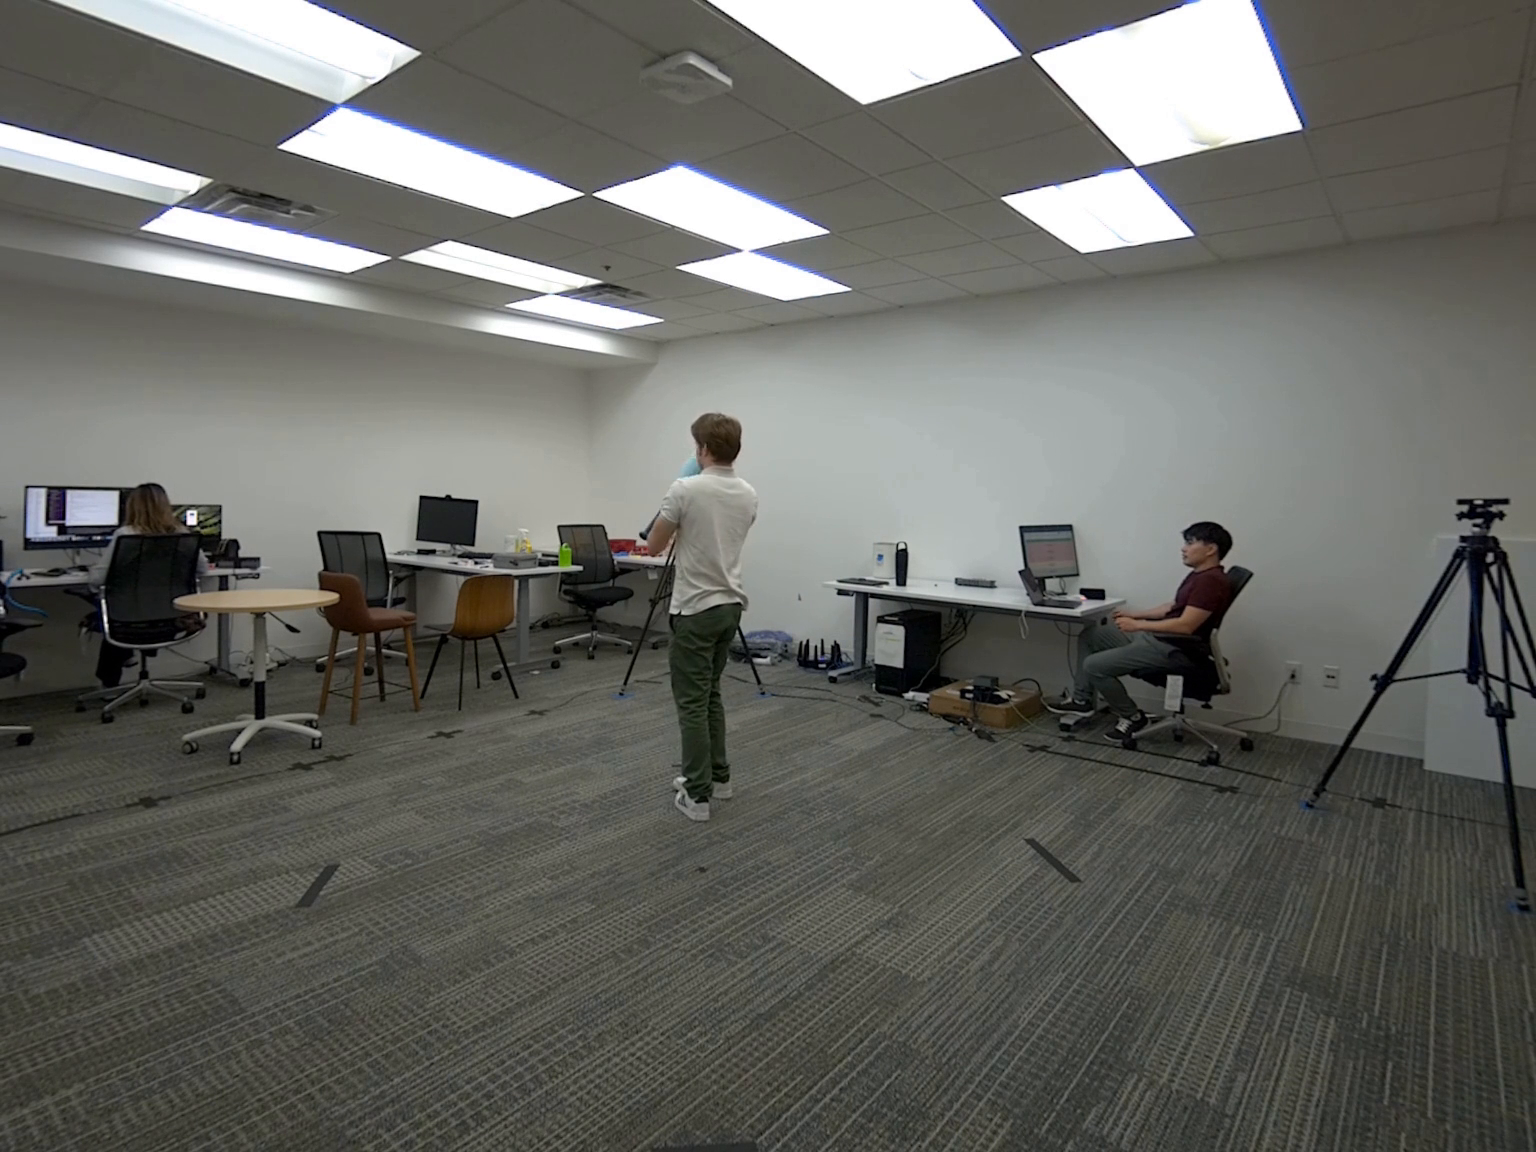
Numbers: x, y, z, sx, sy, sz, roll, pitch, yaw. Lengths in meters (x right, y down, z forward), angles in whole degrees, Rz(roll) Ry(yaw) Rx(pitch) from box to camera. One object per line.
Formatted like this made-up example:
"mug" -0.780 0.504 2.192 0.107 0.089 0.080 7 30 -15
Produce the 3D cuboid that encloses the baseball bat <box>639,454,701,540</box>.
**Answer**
"baseball bat" -0.454 -0.384 4.029 0.091 0.545 0.087 27 -26 12
